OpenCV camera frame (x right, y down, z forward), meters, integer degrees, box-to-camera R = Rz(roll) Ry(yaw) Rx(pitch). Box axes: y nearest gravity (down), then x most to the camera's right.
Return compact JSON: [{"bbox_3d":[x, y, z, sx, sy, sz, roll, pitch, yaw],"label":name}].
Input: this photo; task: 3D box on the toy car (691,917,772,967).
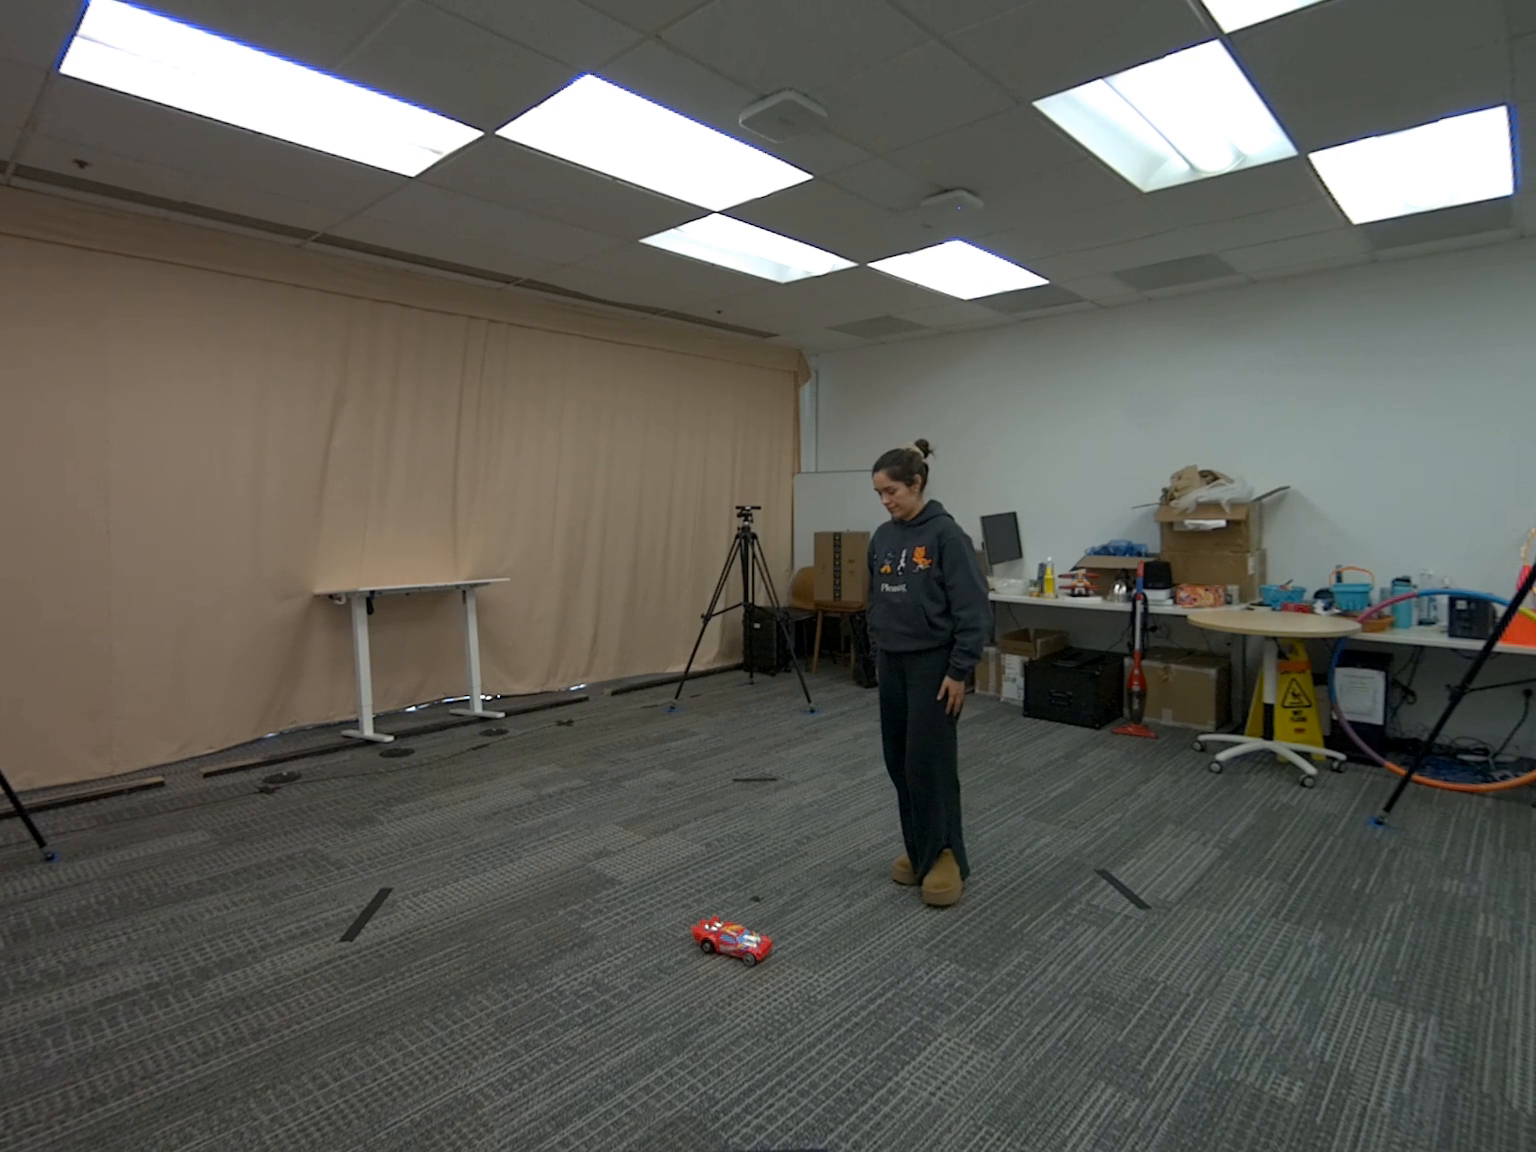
[{"bbox_3d":[-0.094,1.143,2.635,0.262,0.083,0.127,13,11,28],"label":"toy car"}]
